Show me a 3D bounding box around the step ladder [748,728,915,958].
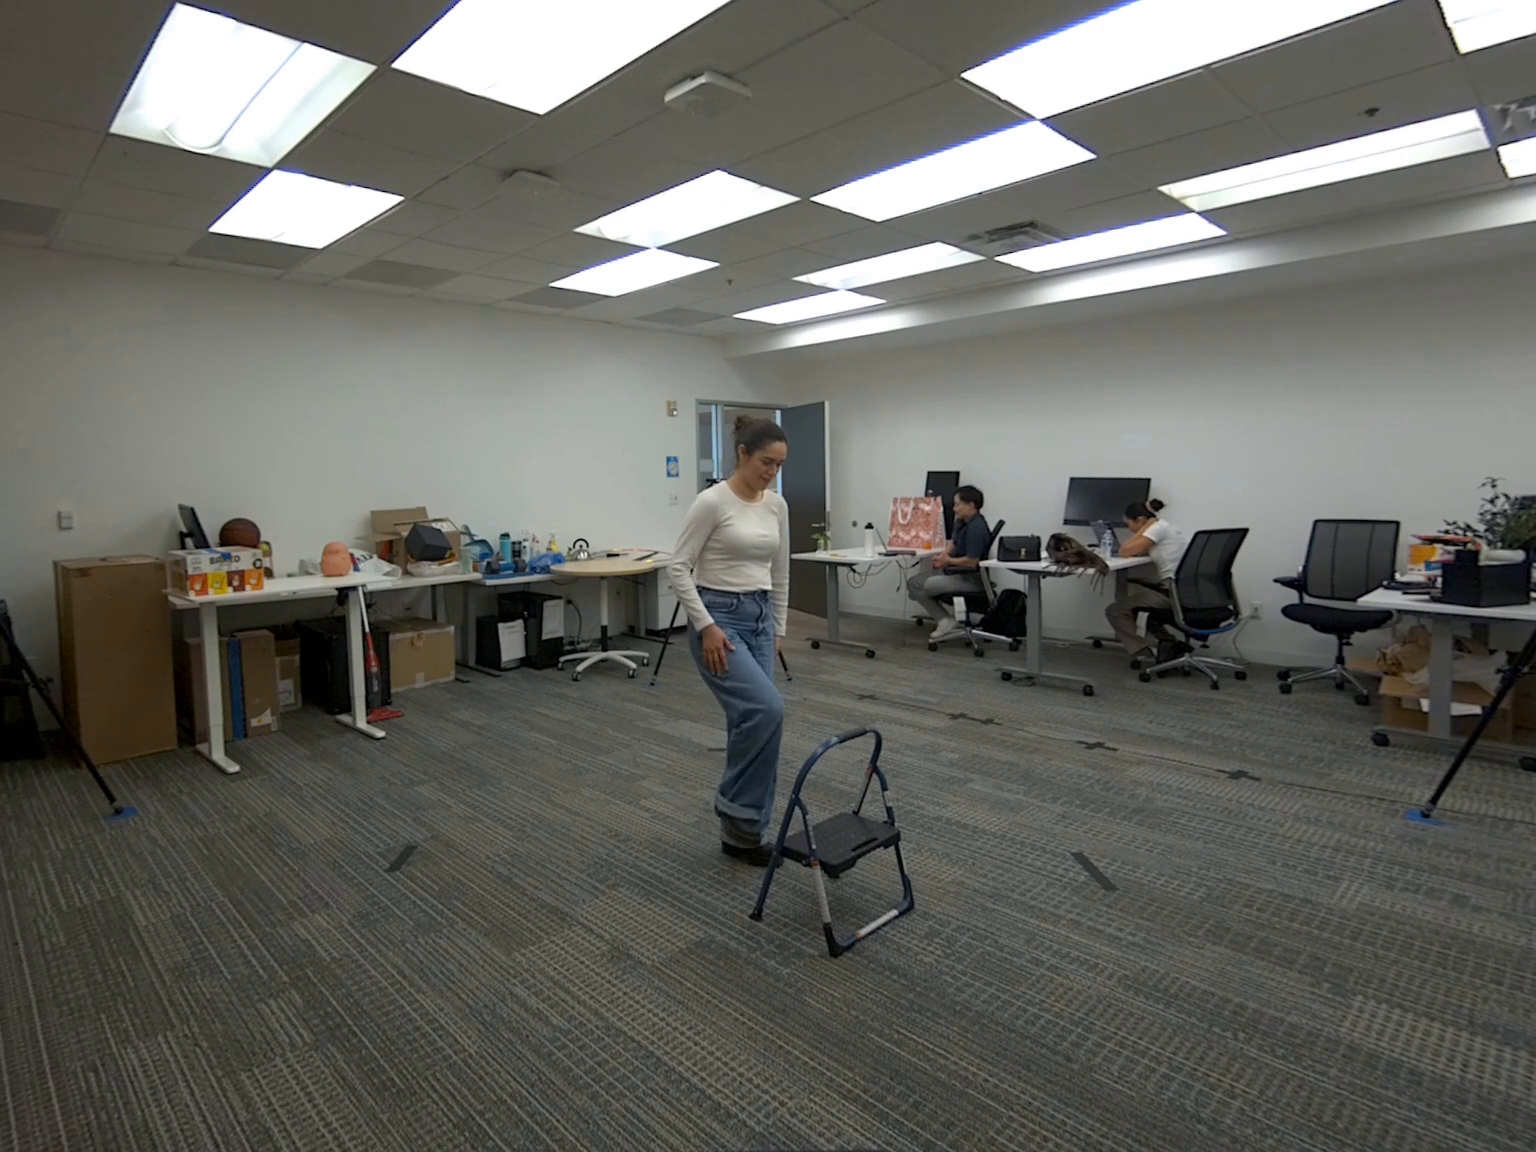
[{"bbox_3d":[0.204,0.780,2.729,0.360,0.604,0.419,2,6,44],"label":"step ladder"}]
